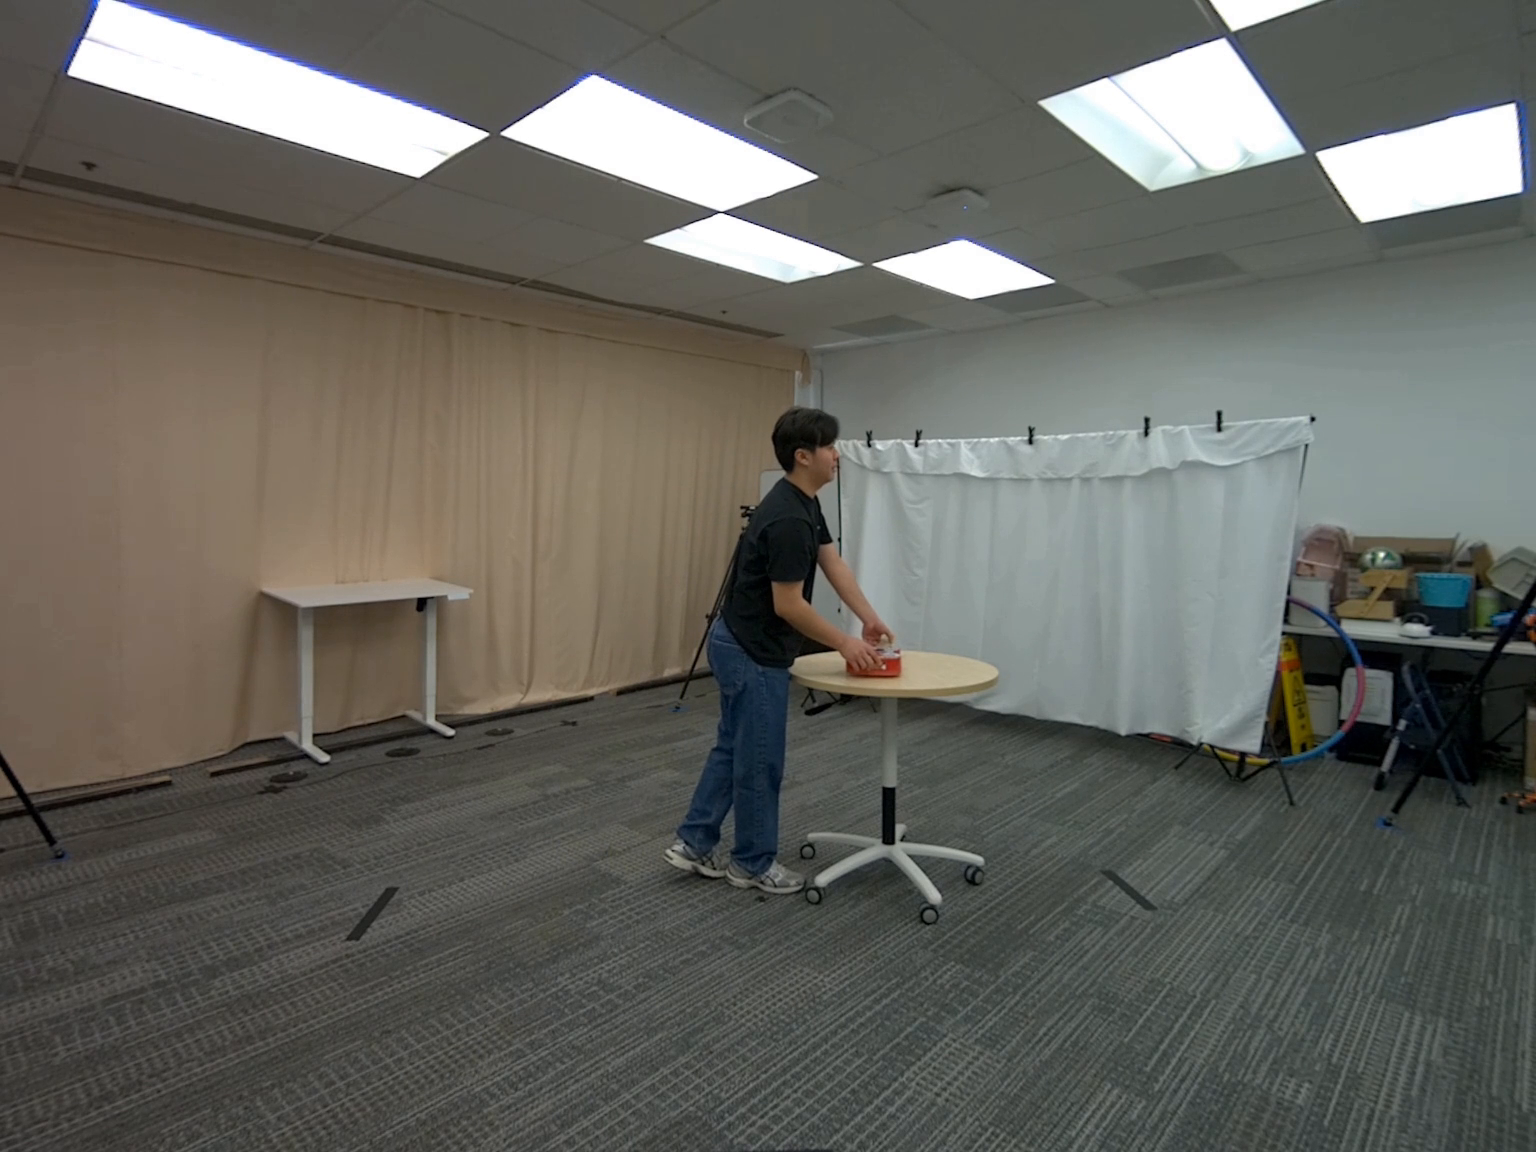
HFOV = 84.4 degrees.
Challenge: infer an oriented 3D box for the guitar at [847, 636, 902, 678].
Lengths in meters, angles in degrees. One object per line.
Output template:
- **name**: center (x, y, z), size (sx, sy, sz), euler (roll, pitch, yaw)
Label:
- **guitar**: center (0.450, 0.297, 3.118), size (0.198, 0.070, 0.487), euler (2, 6, 25)
